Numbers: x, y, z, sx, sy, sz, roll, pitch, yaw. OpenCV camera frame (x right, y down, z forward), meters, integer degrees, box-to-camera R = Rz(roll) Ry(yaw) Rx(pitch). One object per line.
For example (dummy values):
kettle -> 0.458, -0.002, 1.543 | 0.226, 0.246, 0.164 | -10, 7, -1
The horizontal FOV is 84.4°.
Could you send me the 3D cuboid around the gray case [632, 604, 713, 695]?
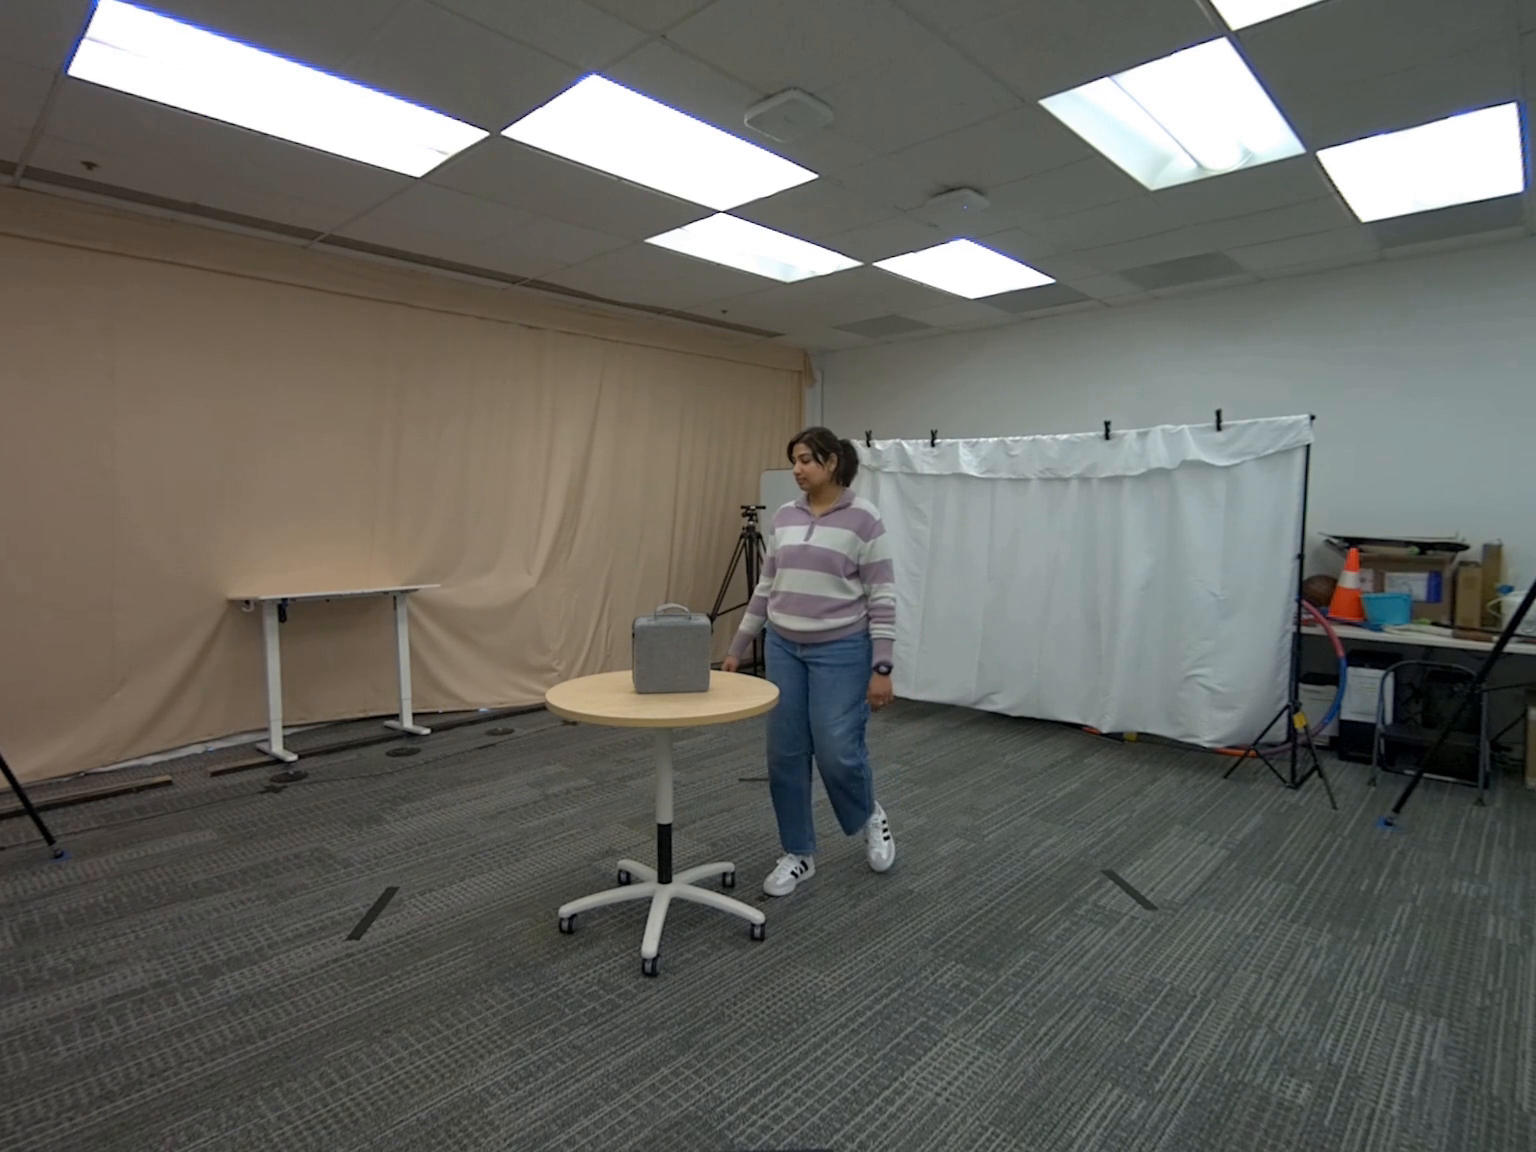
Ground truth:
gray case -> -0.311, 0.252, 2.747 | 0.255, 0.258, 0.106 | -2, 12, -7
